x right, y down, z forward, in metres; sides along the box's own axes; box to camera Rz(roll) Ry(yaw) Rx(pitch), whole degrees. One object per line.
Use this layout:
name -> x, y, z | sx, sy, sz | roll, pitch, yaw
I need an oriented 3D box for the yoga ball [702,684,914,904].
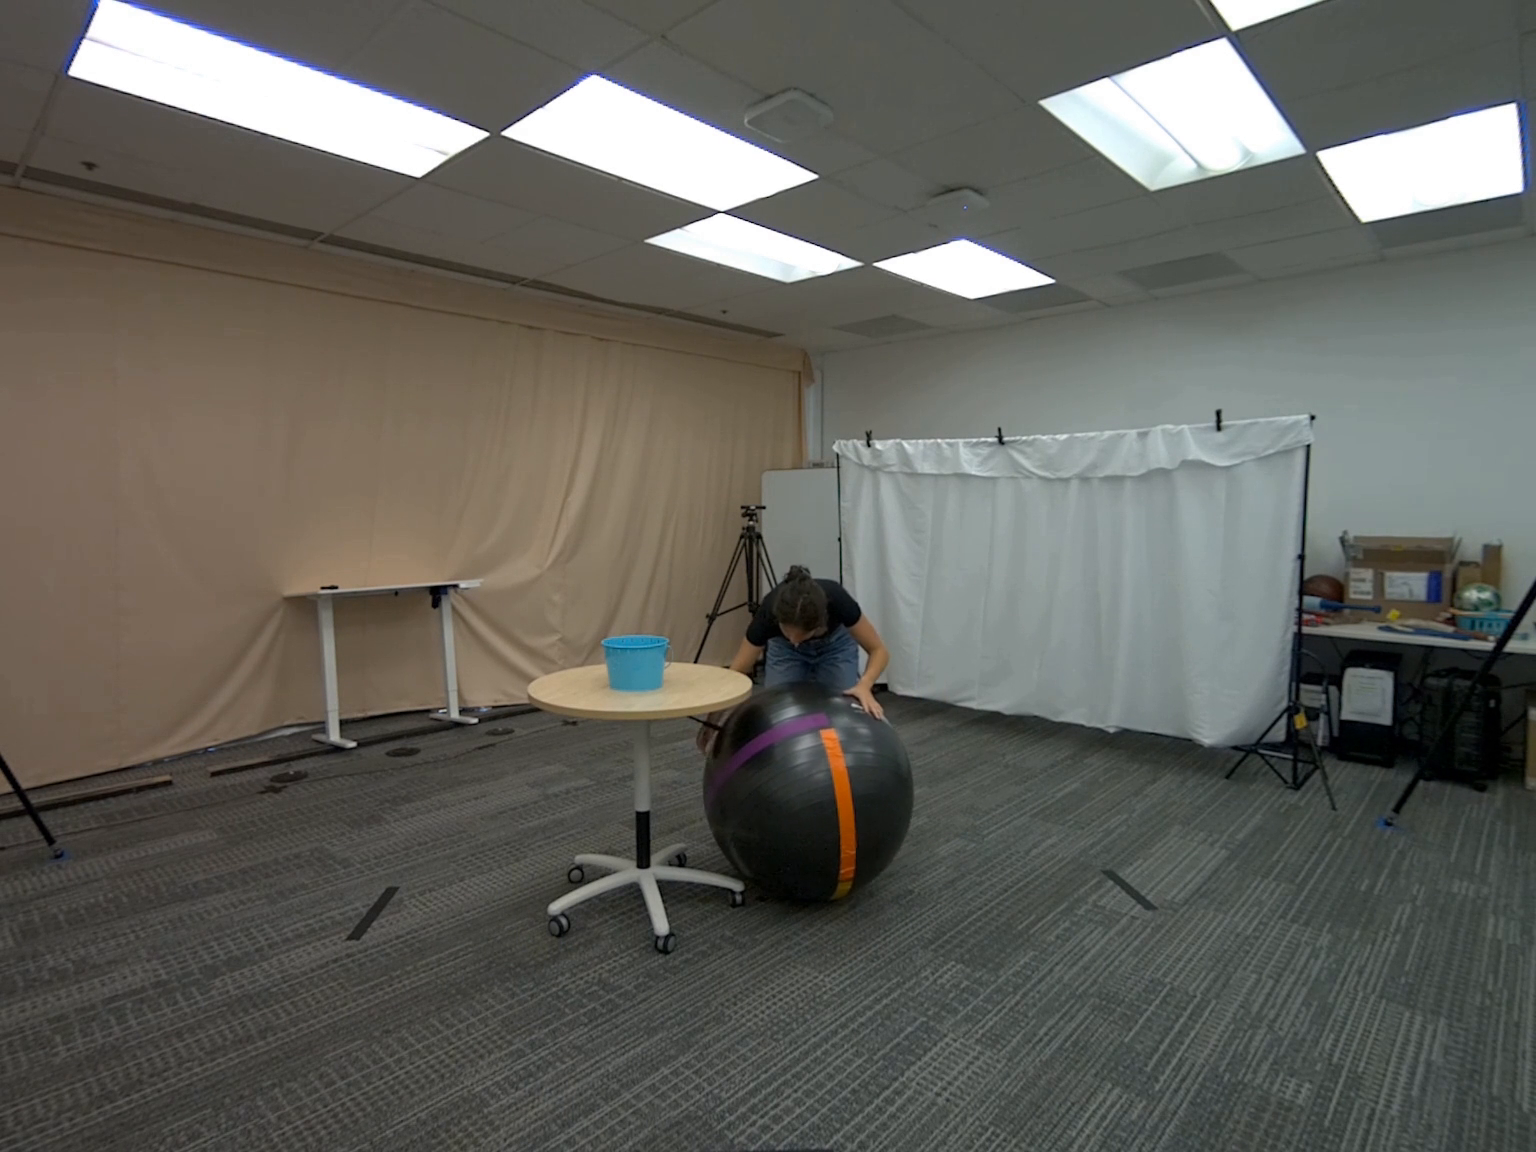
yoga ball -> 0.146, 0.774, 3.038 | 0.757, 0.756, 0.760 | 0, 4, -2
